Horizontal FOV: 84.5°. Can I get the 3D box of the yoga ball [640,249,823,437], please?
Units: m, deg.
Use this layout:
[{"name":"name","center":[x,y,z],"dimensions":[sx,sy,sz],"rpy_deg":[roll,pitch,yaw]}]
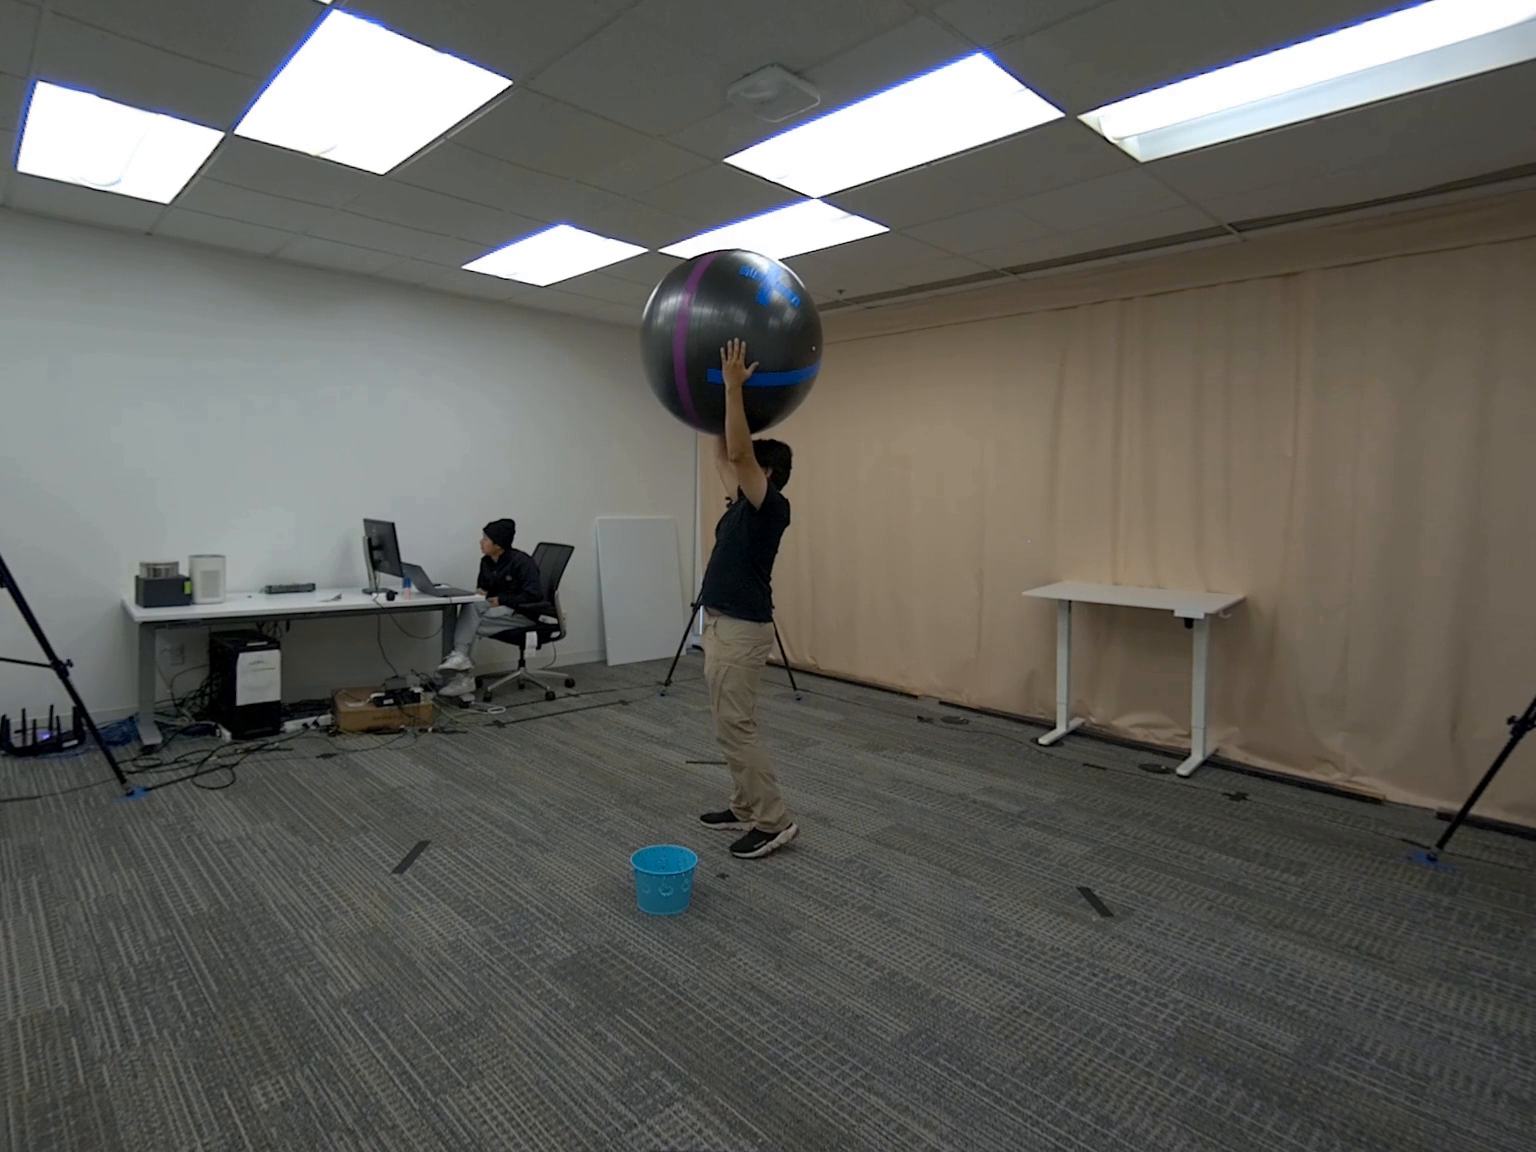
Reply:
[{"name":"yoga ball","center":[-0.157,-0.952,3.476],"dimensions":[0.757,0.756,0.761],"rpy_deg":[1,4,-1]}]
